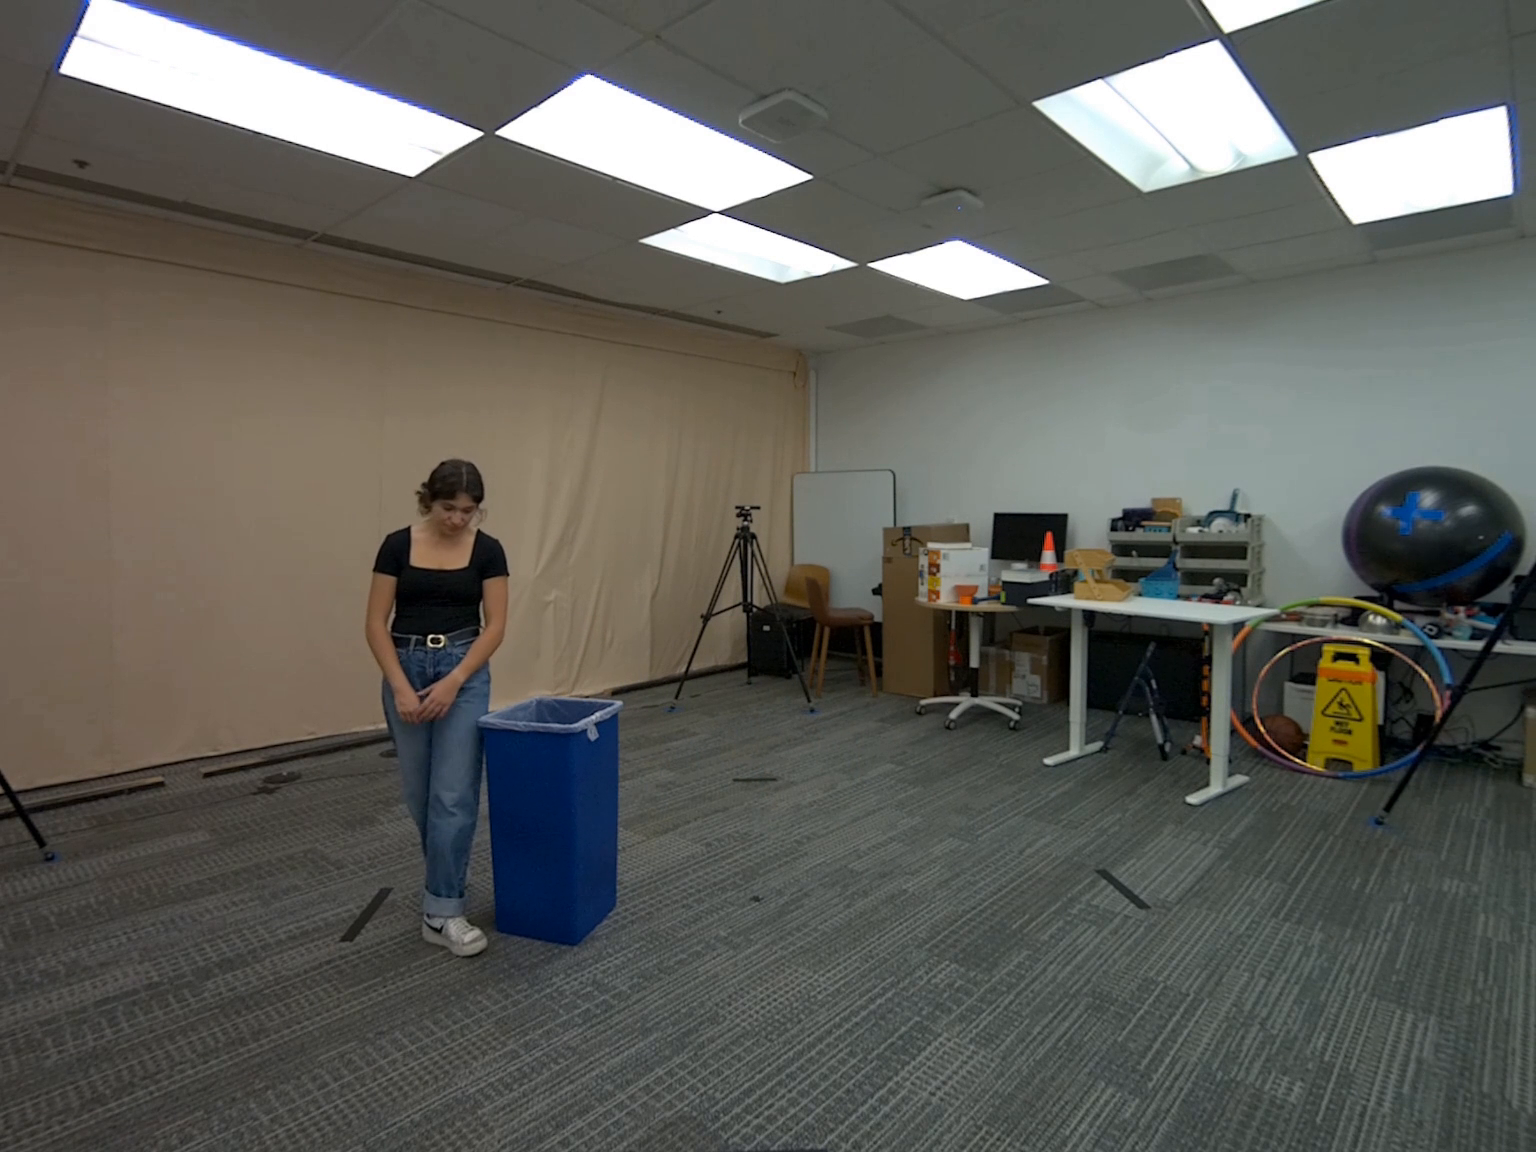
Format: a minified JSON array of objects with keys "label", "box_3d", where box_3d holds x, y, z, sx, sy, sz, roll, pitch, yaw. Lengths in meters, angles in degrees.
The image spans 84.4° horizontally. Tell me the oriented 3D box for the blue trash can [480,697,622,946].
[{"label":"blue trash can","box_3d":[-0.723,0.807,2.835,0.381,0.712,0.371,1,3,18]}]
